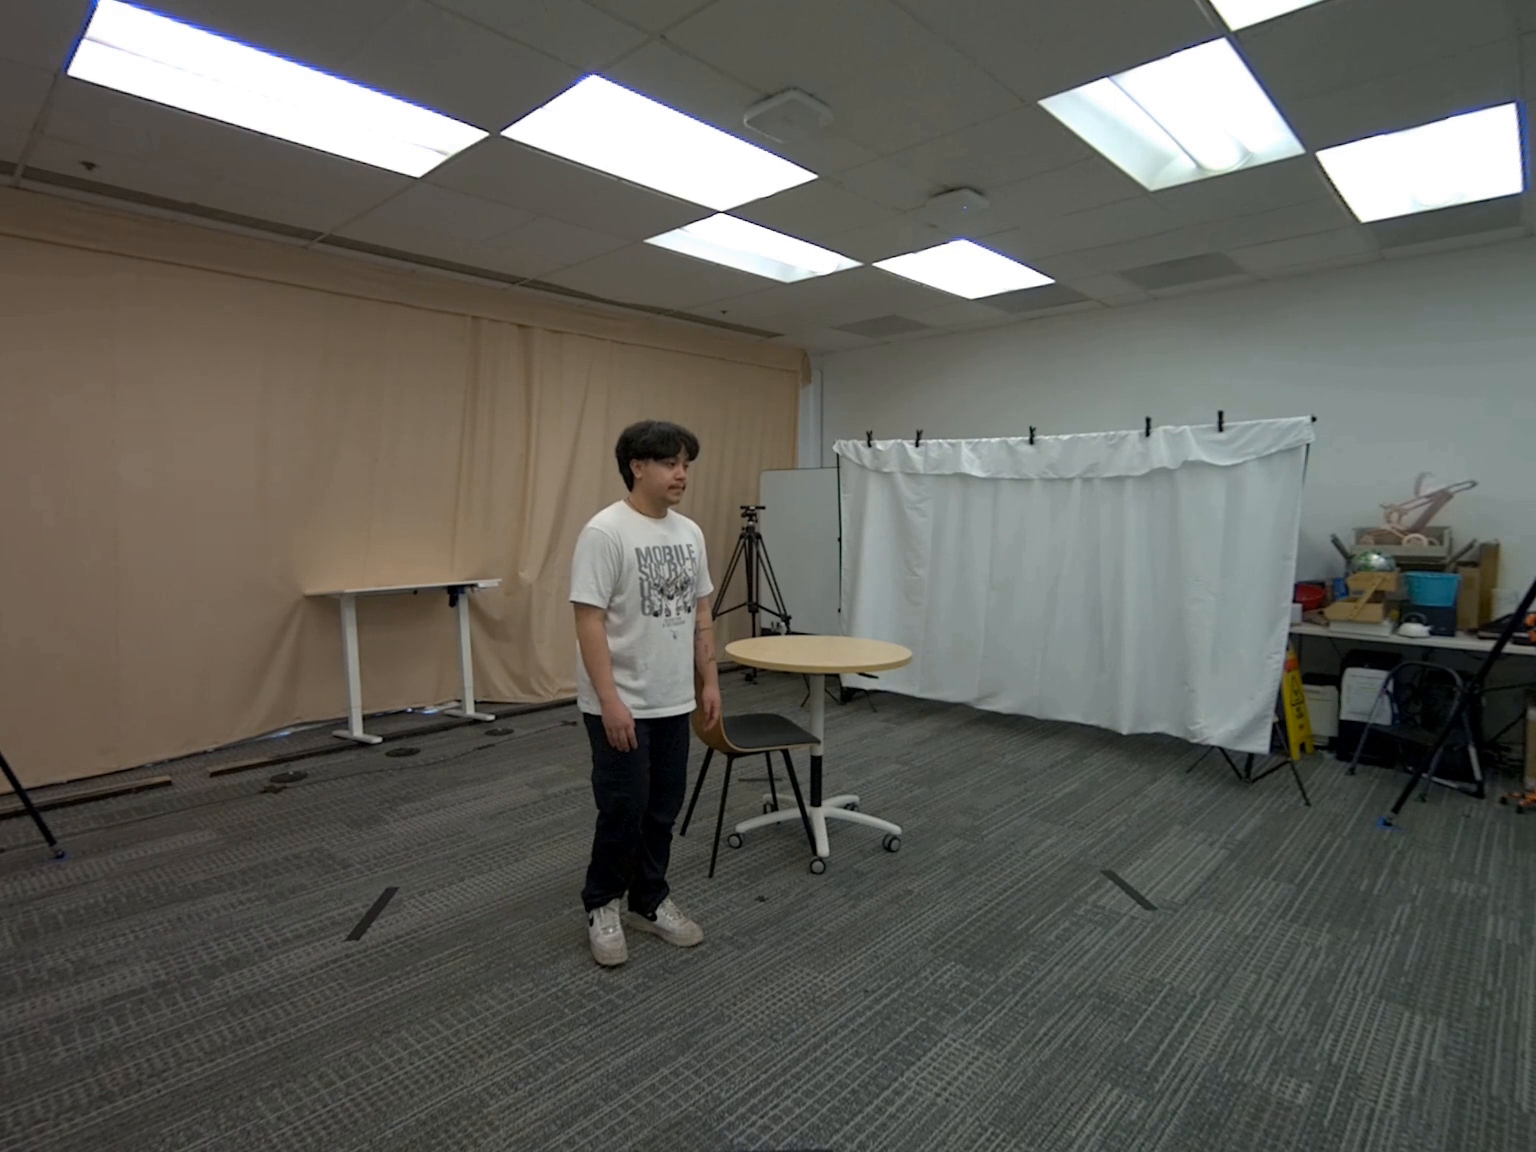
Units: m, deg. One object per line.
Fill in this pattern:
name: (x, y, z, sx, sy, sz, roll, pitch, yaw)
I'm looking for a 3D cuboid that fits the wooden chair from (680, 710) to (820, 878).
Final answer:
wooden chair: (-0.080, 0.683, 3.391, 0.514, 0.875, 0.488, -6, 4, -18)
